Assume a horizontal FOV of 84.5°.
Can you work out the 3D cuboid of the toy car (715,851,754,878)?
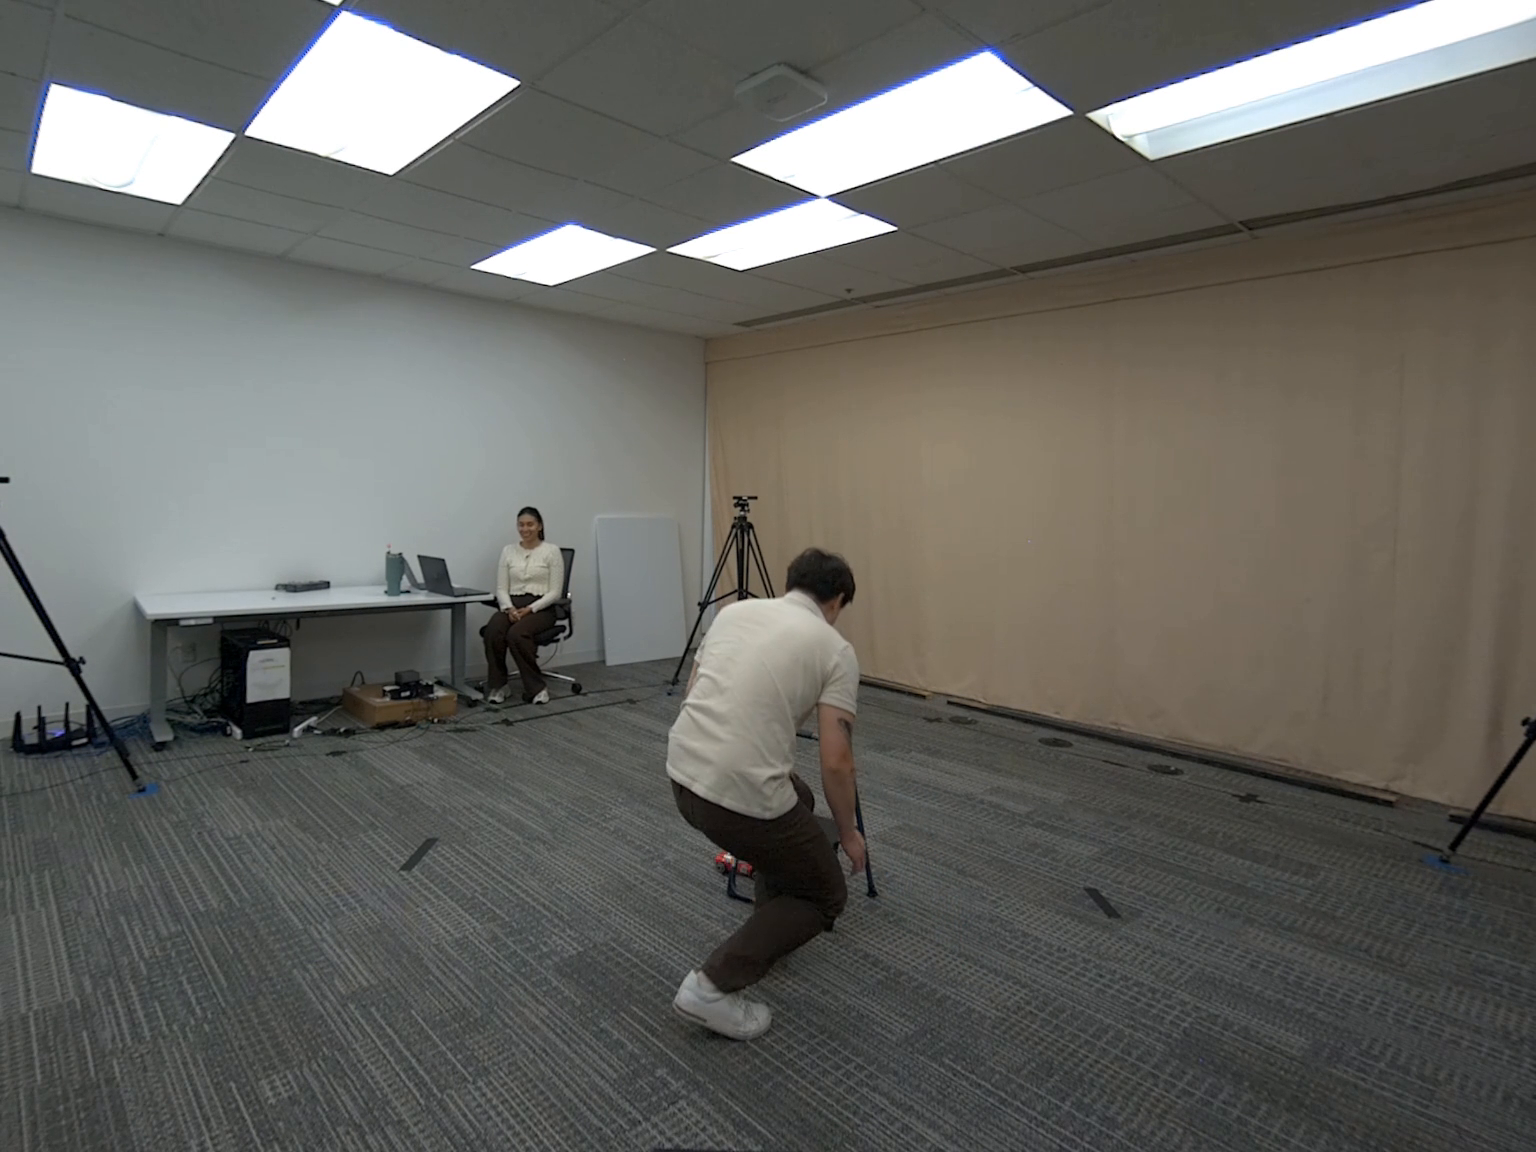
[{"bbox_3d":[-0.077,1.077,3.120,0.259,0.083,0.128,-7,-2,27],"label":"toy car"}]
